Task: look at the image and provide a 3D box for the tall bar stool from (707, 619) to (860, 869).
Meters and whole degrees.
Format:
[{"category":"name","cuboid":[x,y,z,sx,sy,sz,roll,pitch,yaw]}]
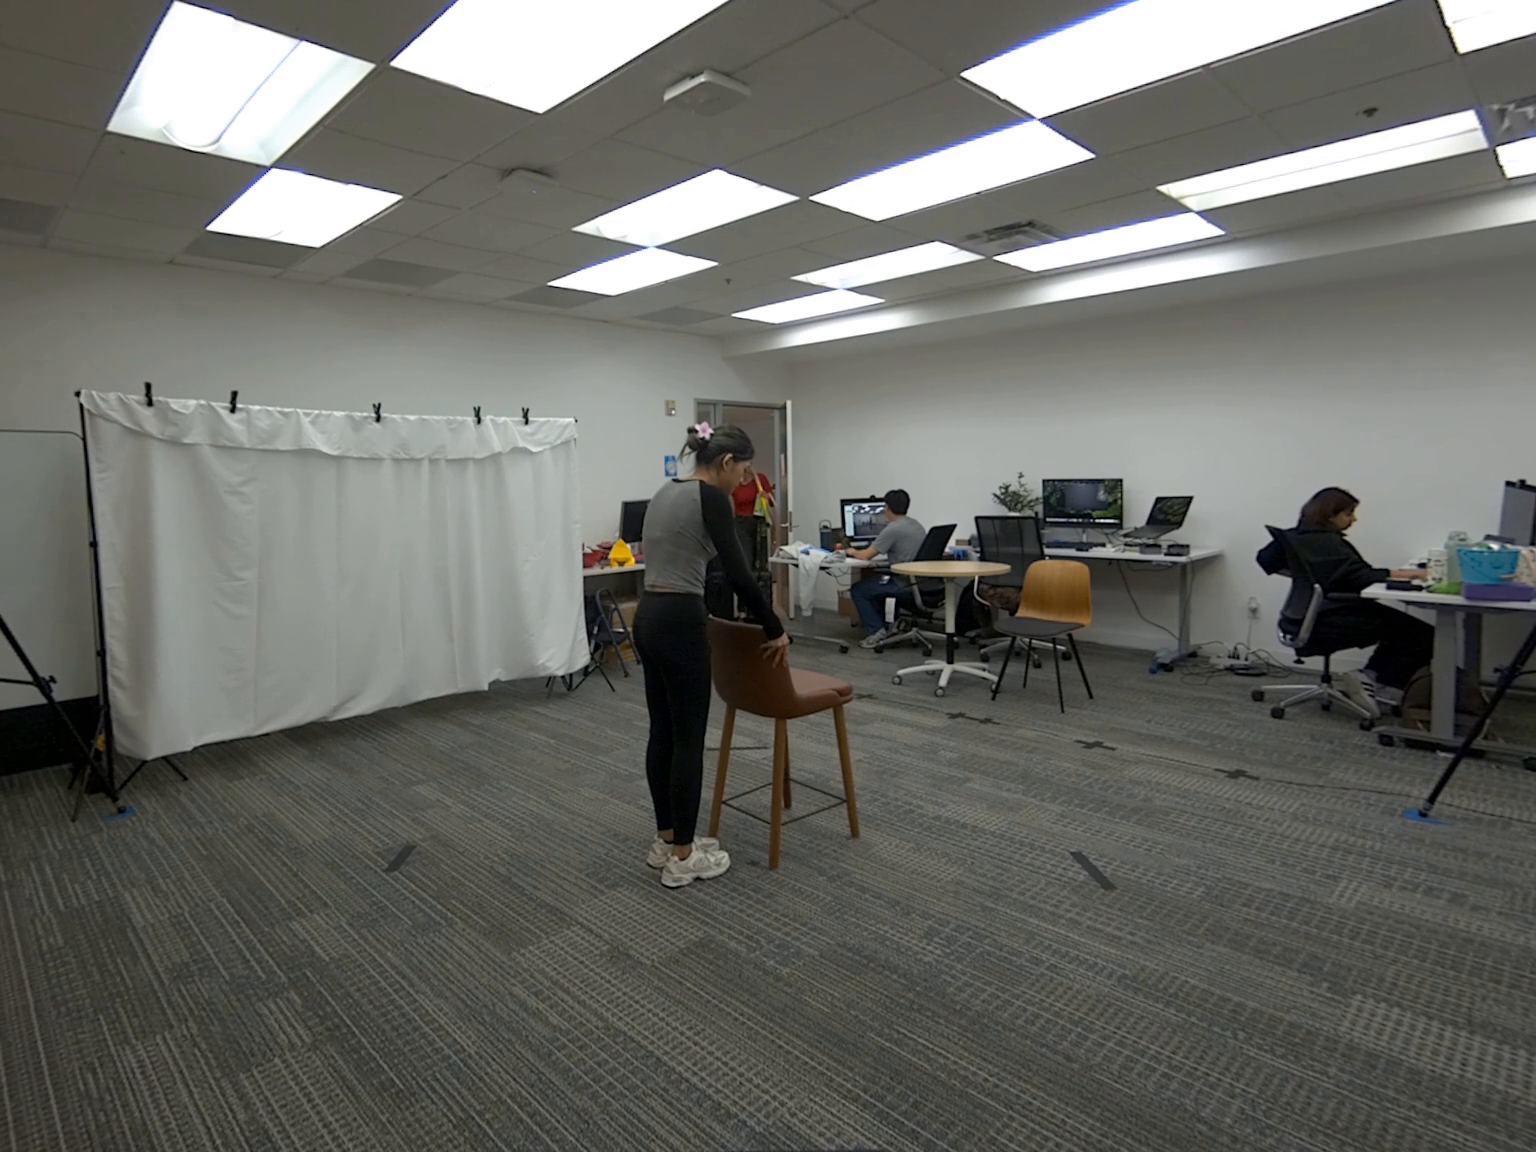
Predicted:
[{"category":"tall bar stool","cuboid":[0.047,0.583,3.296,0.456,0.885,0.471,-7,8,-40]}]
